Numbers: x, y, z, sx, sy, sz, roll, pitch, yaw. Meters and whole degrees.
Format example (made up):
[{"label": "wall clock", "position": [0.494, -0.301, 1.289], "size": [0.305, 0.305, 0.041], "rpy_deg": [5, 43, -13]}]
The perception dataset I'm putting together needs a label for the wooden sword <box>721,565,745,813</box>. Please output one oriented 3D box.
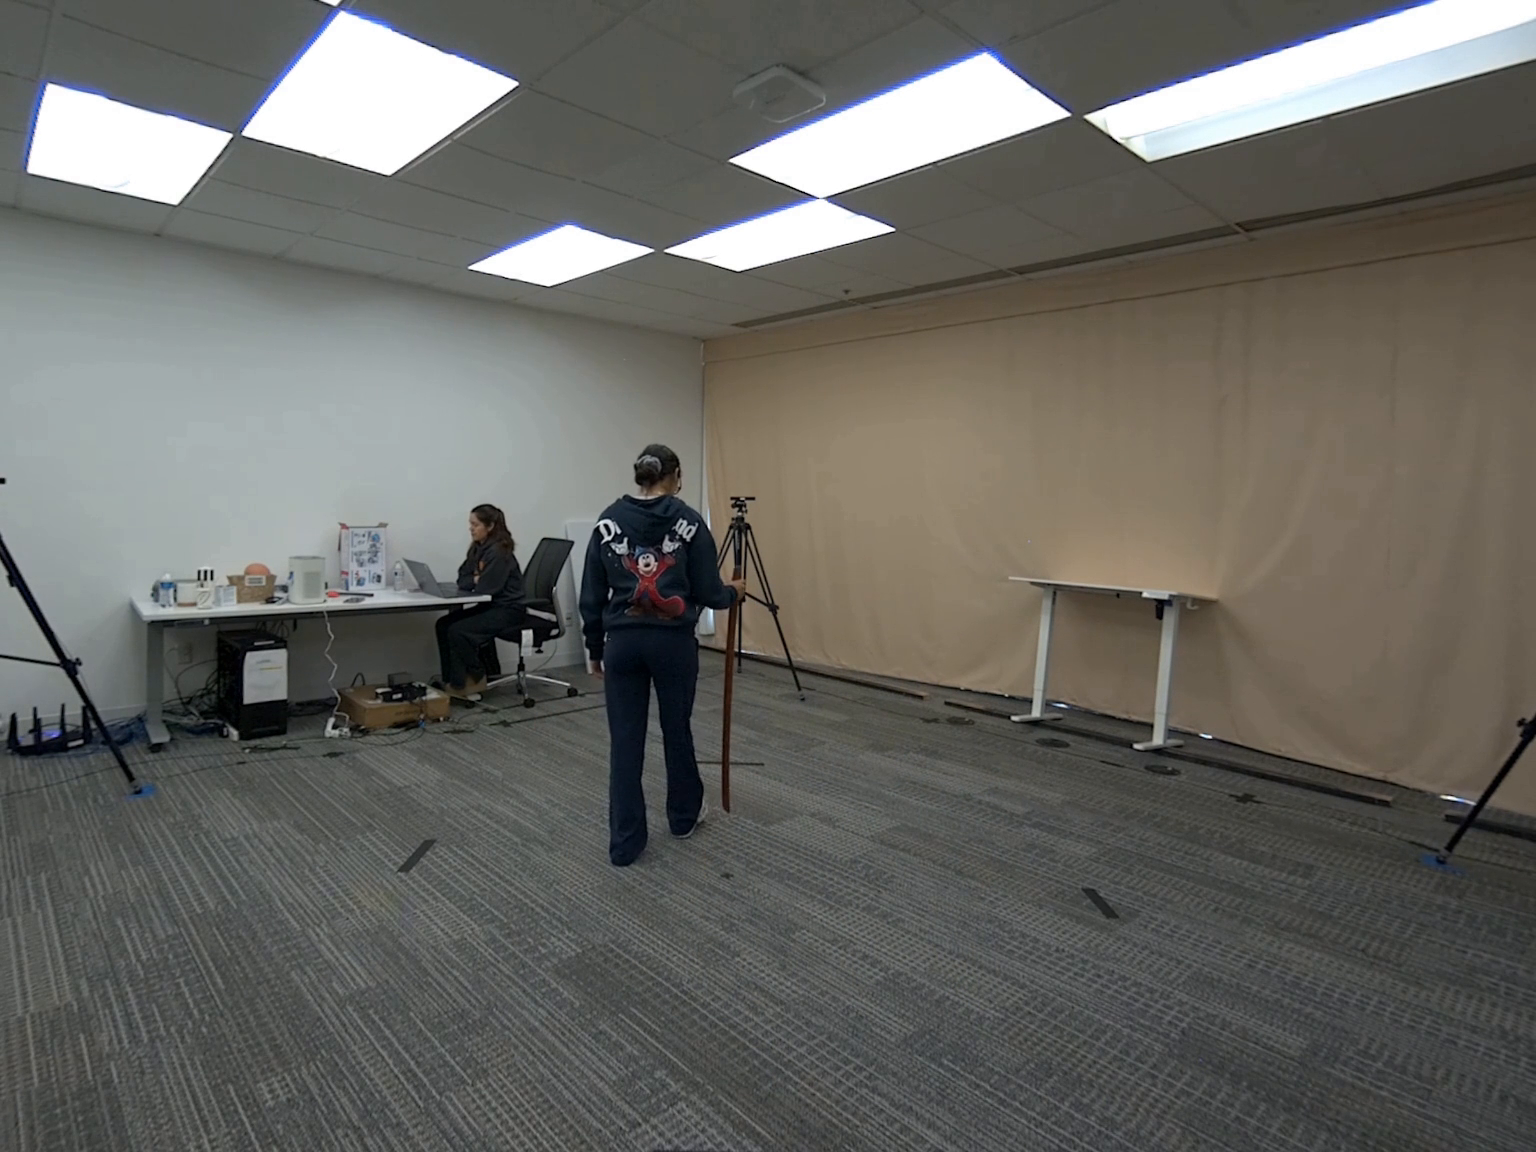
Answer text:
[{"label": "wooden sword", "position": [-0.165, 0.502, 3.521], "size": [0.050, 1.026, 0.024], "rpy_deg": [3, -2, -18]}]
